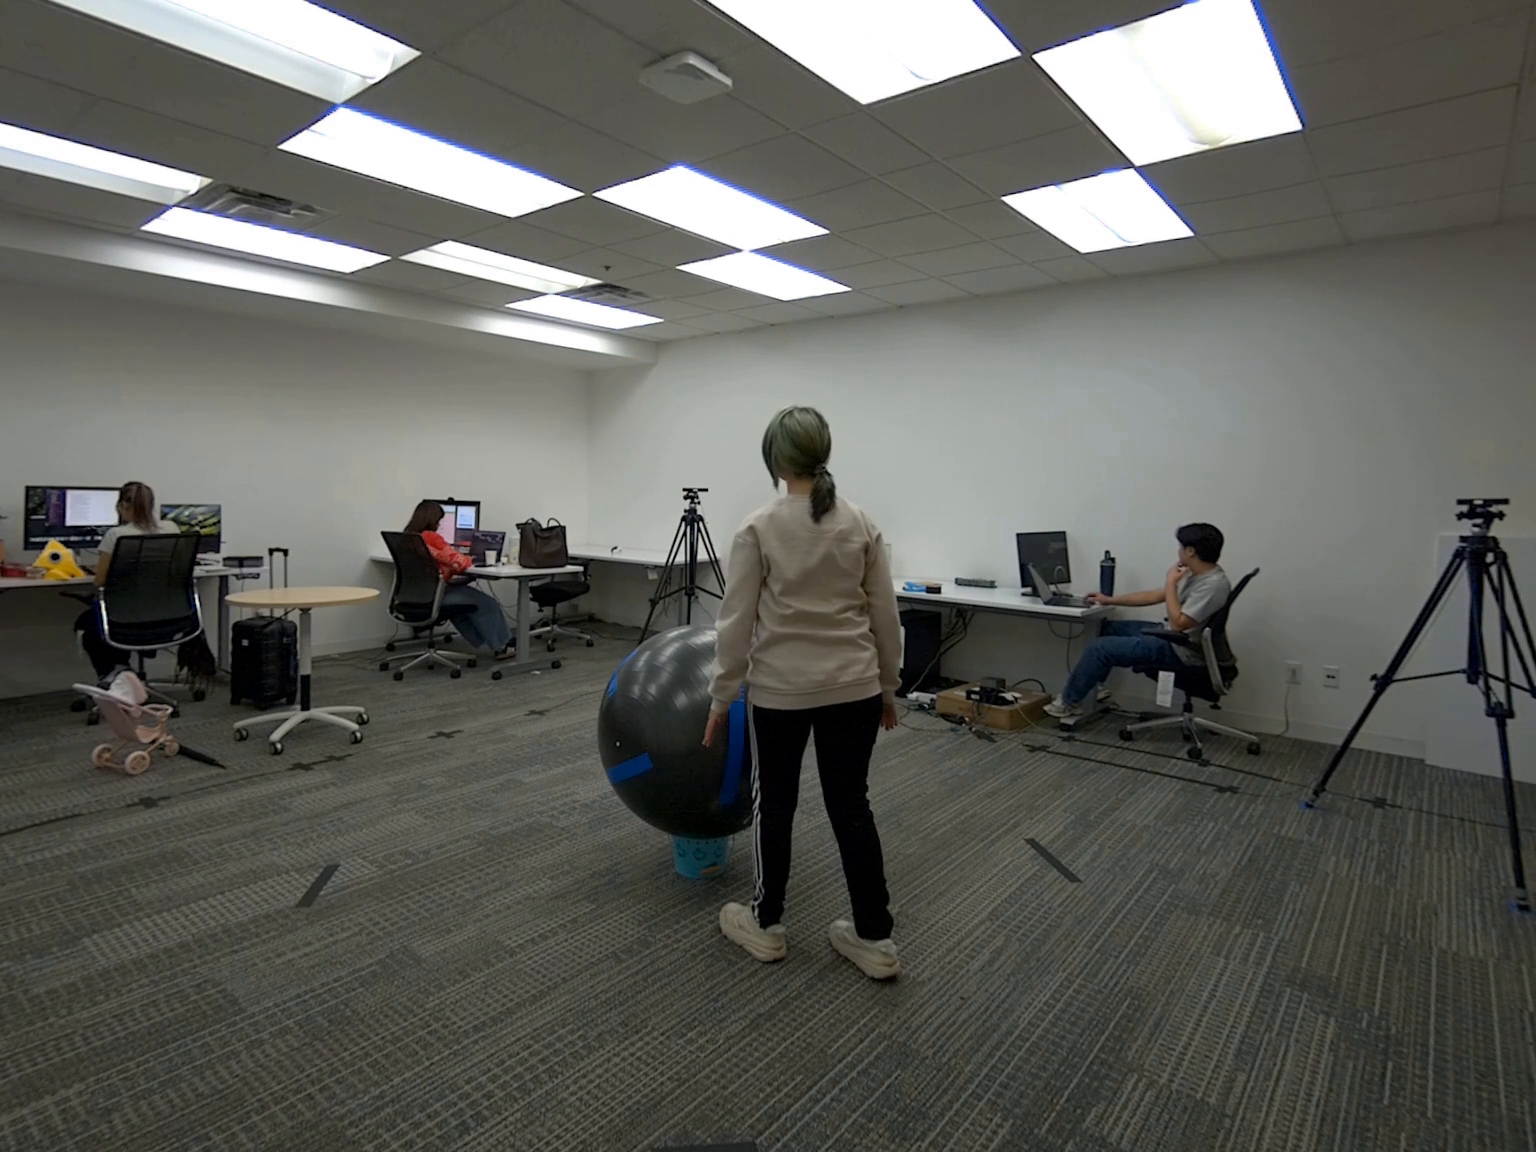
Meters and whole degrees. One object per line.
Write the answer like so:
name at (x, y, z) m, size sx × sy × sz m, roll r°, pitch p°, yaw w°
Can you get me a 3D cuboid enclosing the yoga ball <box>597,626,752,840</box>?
yoga ball at (-0.253, 0.554, 3.107) m, size 0.757 × 0.755 × 0.762 m, roll 1°, pitch 4°, yaw -2°
